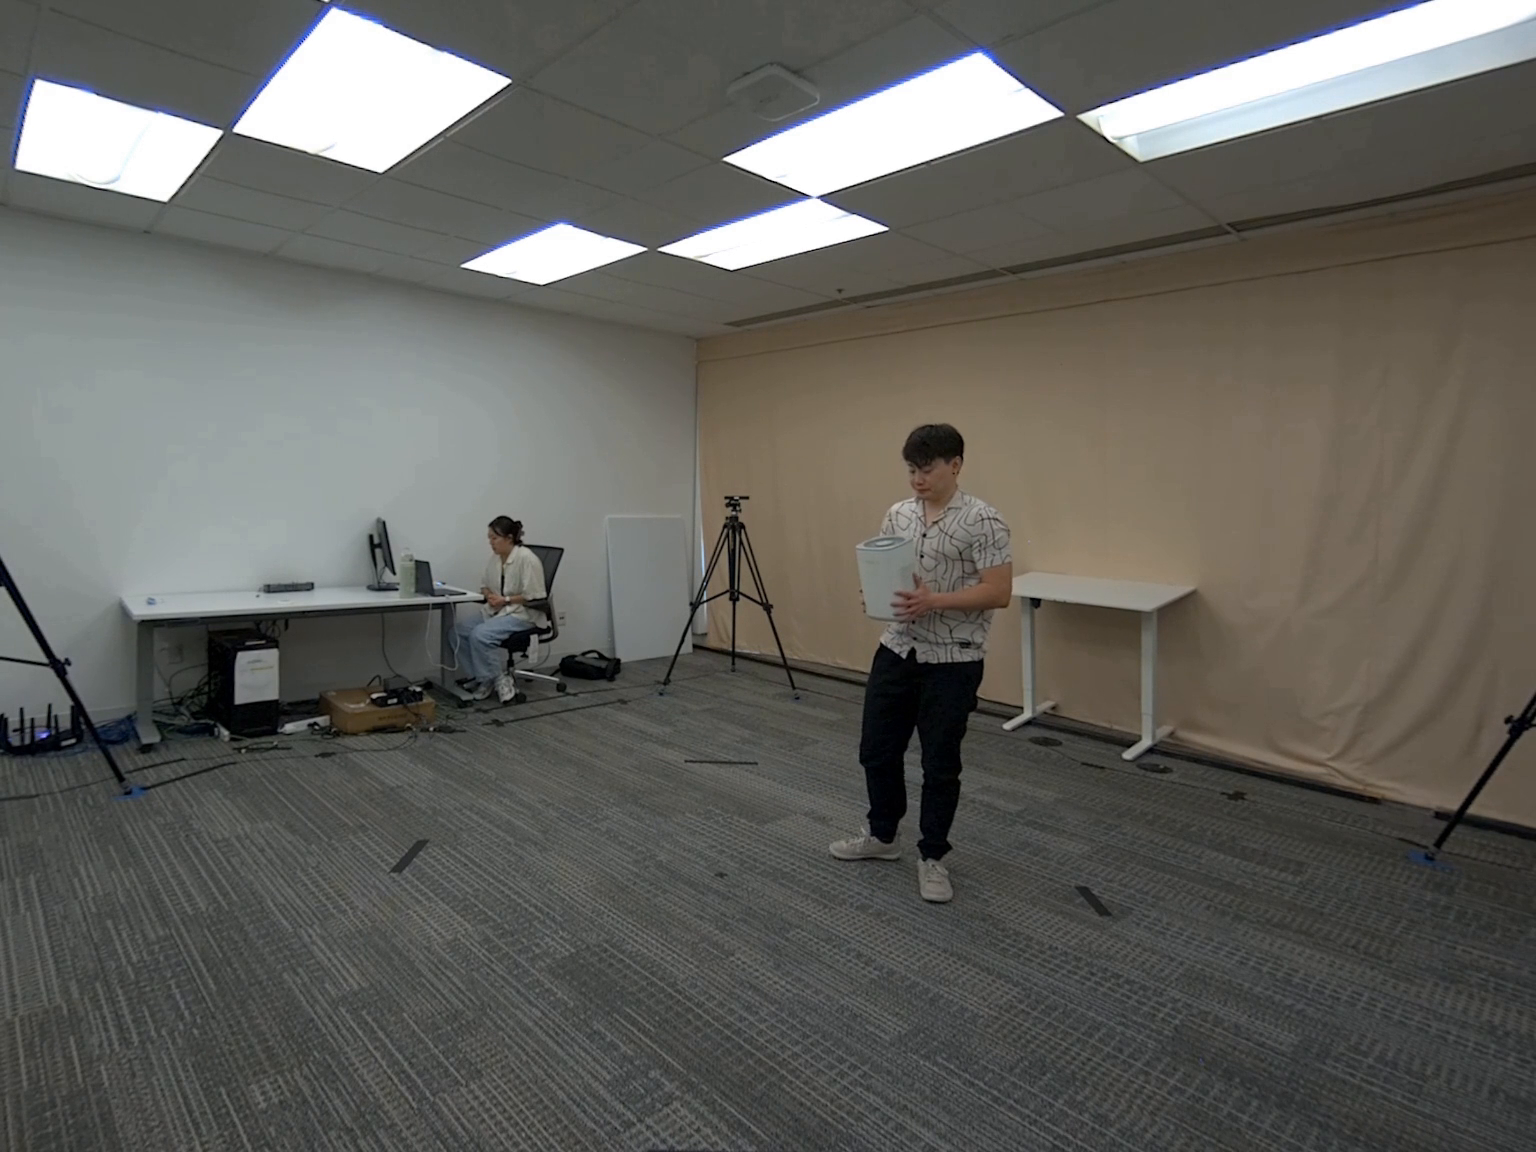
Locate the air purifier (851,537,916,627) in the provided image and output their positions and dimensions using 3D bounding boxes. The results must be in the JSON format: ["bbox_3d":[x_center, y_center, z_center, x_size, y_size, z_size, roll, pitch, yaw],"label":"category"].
[{"bbox_3d":[0.424,0.014,2.889,0.169,0.263,0.175,-15,11,-27],"label":"air purifier"}]
